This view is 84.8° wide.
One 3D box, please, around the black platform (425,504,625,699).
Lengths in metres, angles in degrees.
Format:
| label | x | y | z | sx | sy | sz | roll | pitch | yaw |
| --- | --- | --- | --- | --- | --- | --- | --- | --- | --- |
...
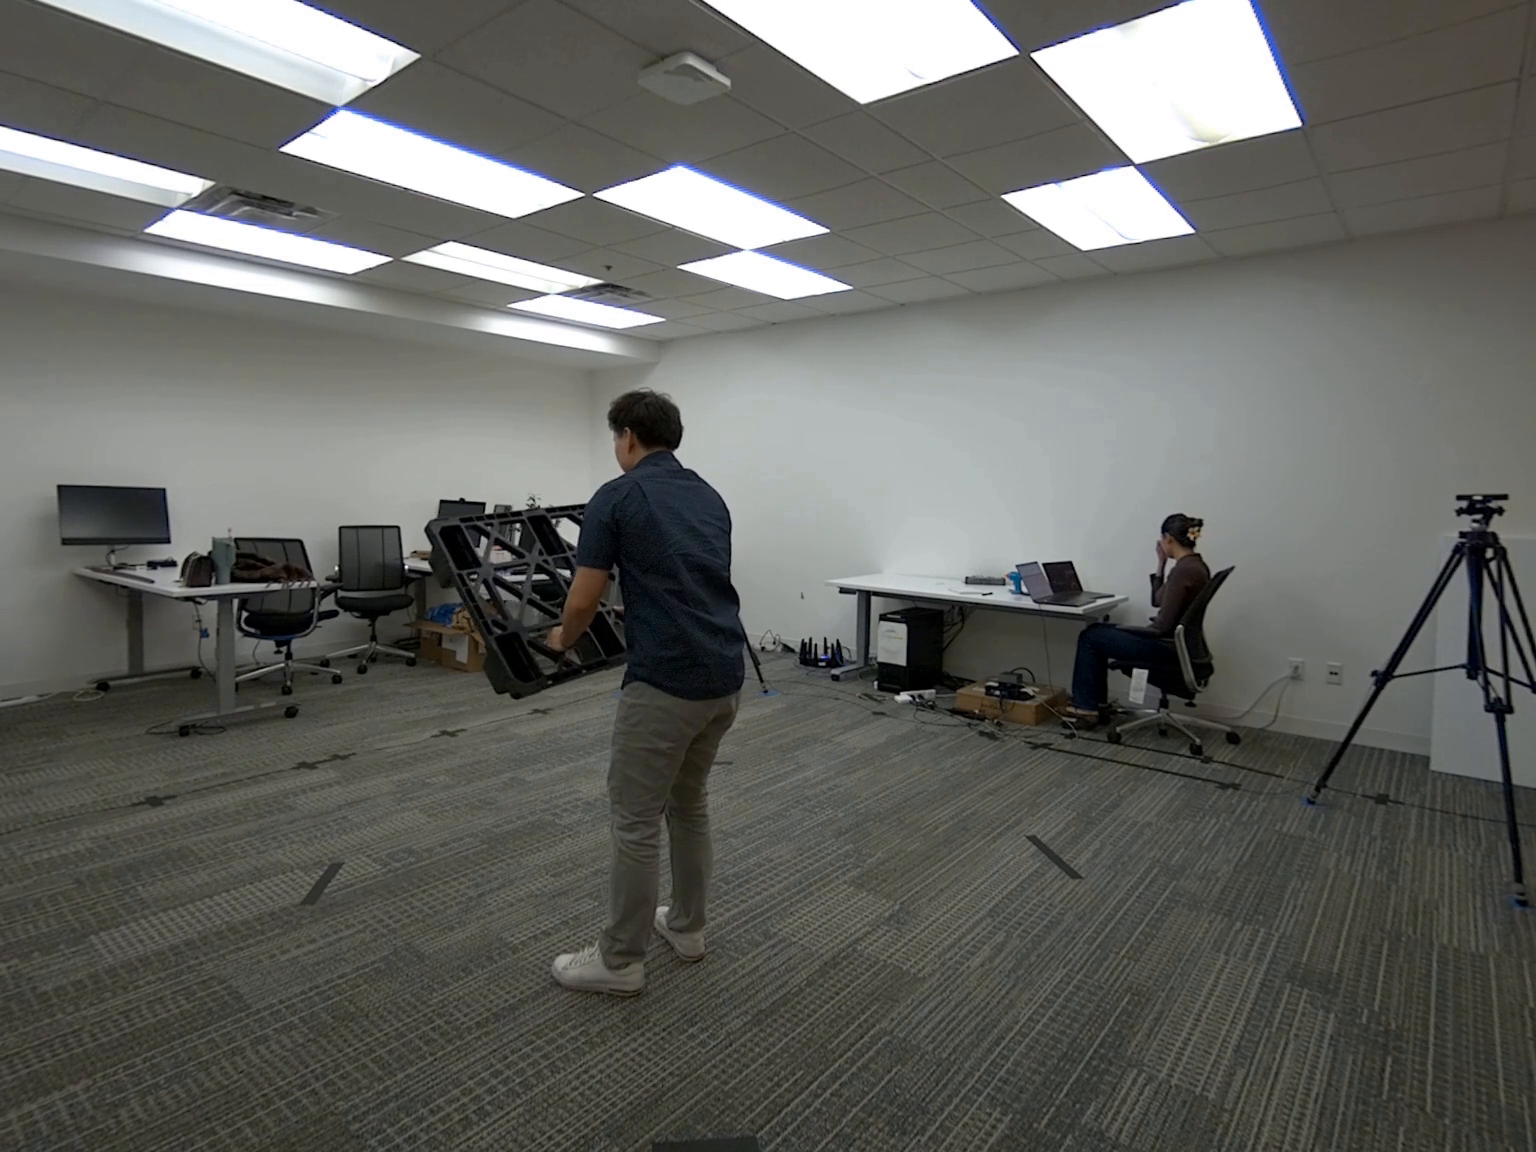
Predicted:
| label | x | y | z | sx | sy | sz | roll | pitch | yaw |
| --- | --- | --- | --- | --- | --- | --- | --- | --- | --- |
| black platform | -0.659 | 0.056 | 2.739 | 0.143 | 0.619 | 0.786 | -45 | -18 | 33 |
